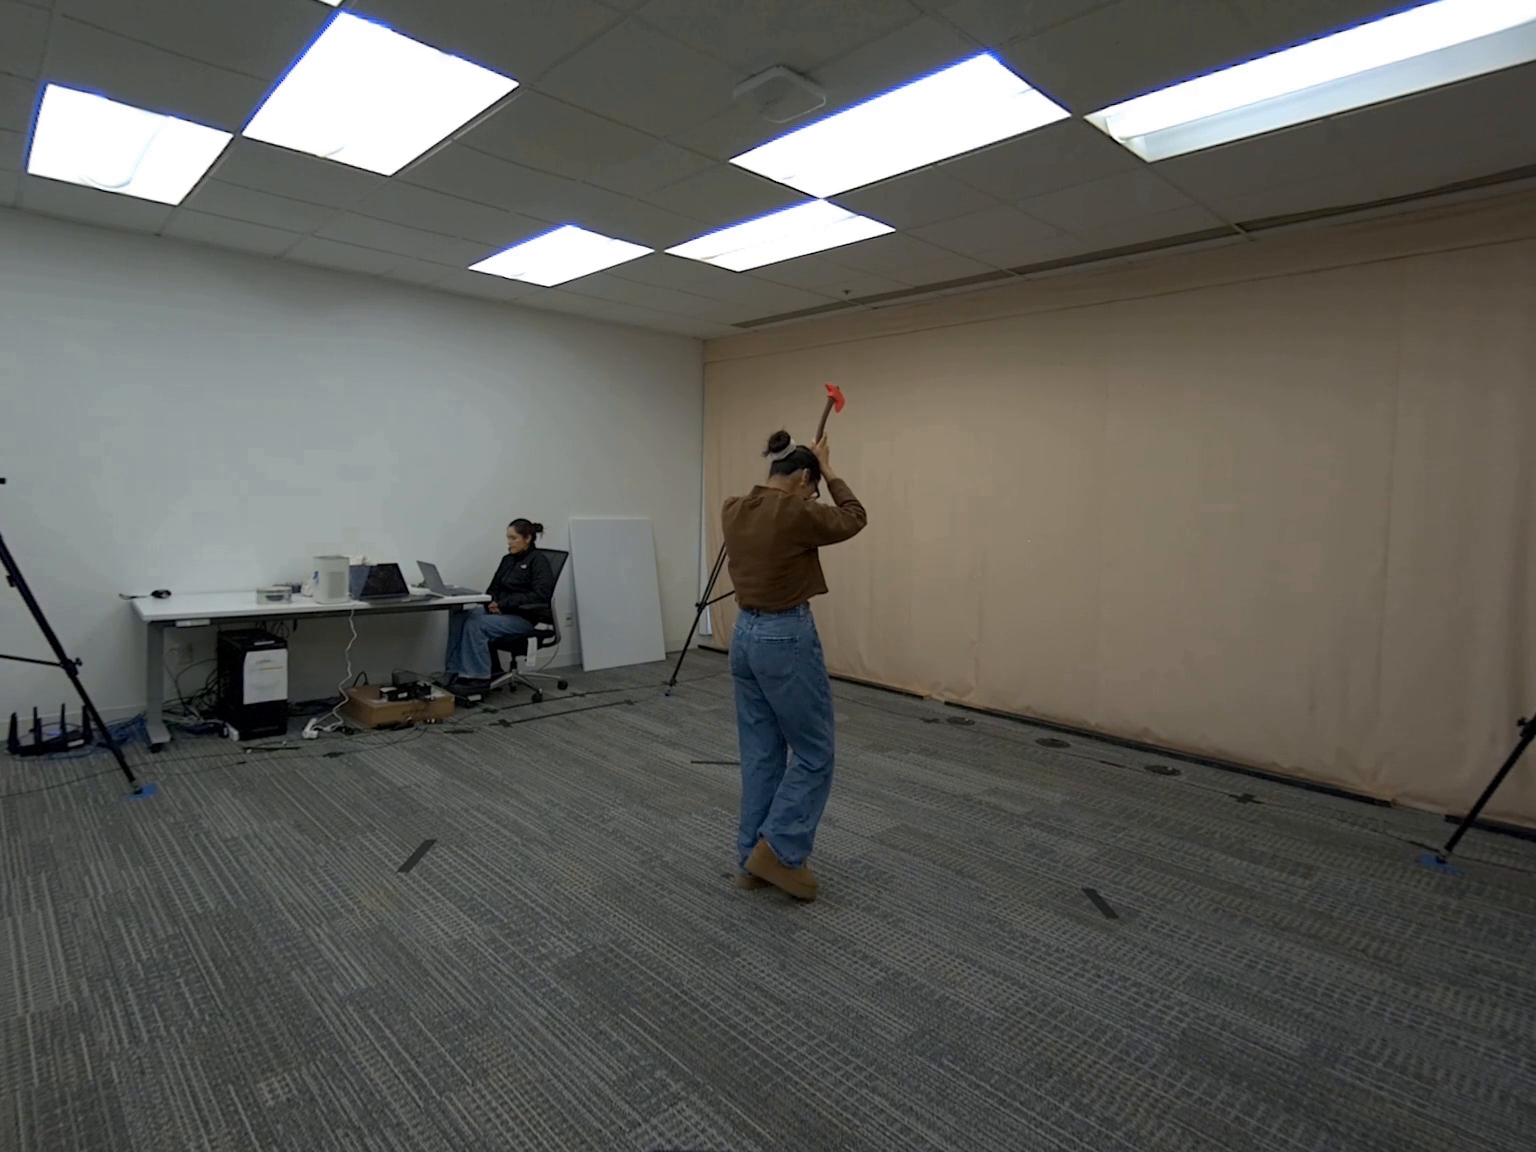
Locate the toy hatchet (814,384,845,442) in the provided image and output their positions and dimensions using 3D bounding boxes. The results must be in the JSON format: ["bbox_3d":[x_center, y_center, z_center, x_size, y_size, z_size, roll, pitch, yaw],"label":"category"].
[{"bbox_3d":[0.227,-0.585,3.171,0.030,0.270,0.127,7,-4,42],"label":"toy hatchet"}]
